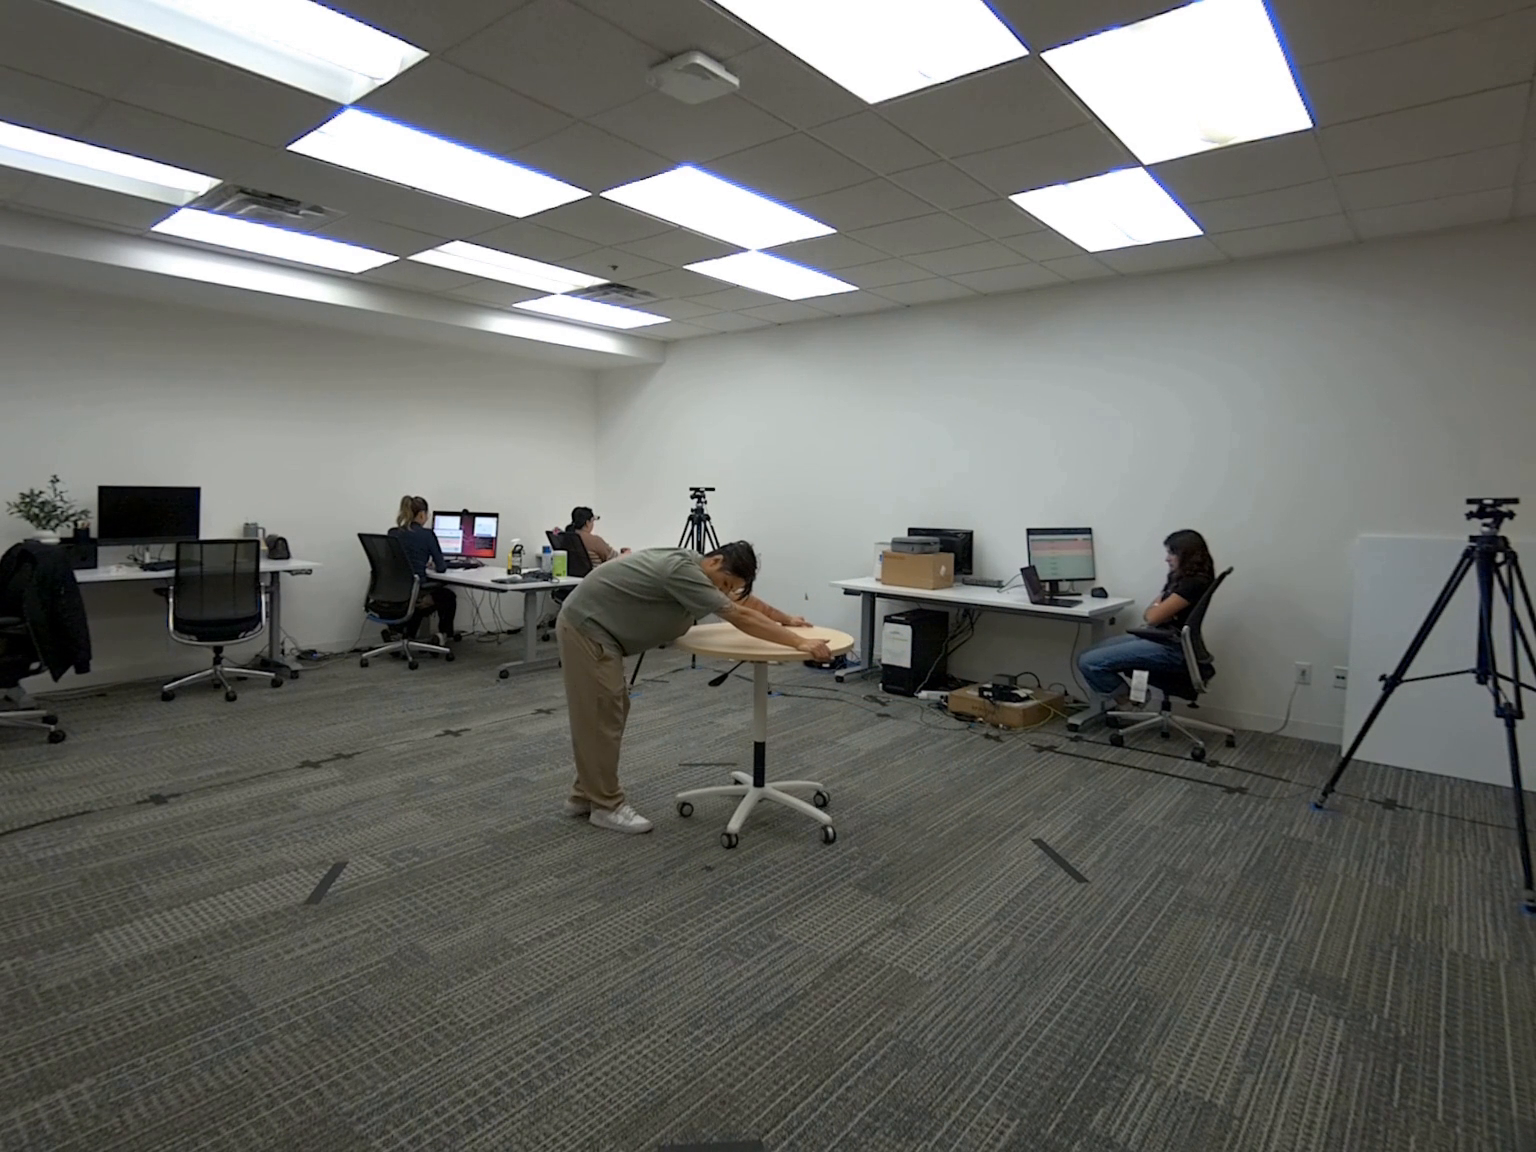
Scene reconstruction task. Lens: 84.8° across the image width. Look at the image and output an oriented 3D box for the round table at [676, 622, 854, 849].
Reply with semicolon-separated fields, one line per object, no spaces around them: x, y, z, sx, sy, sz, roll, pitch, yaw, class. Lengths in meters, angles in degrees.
-0.038;0.637;3.587;0.784;0.783;0.789;1;5;-2;round table
